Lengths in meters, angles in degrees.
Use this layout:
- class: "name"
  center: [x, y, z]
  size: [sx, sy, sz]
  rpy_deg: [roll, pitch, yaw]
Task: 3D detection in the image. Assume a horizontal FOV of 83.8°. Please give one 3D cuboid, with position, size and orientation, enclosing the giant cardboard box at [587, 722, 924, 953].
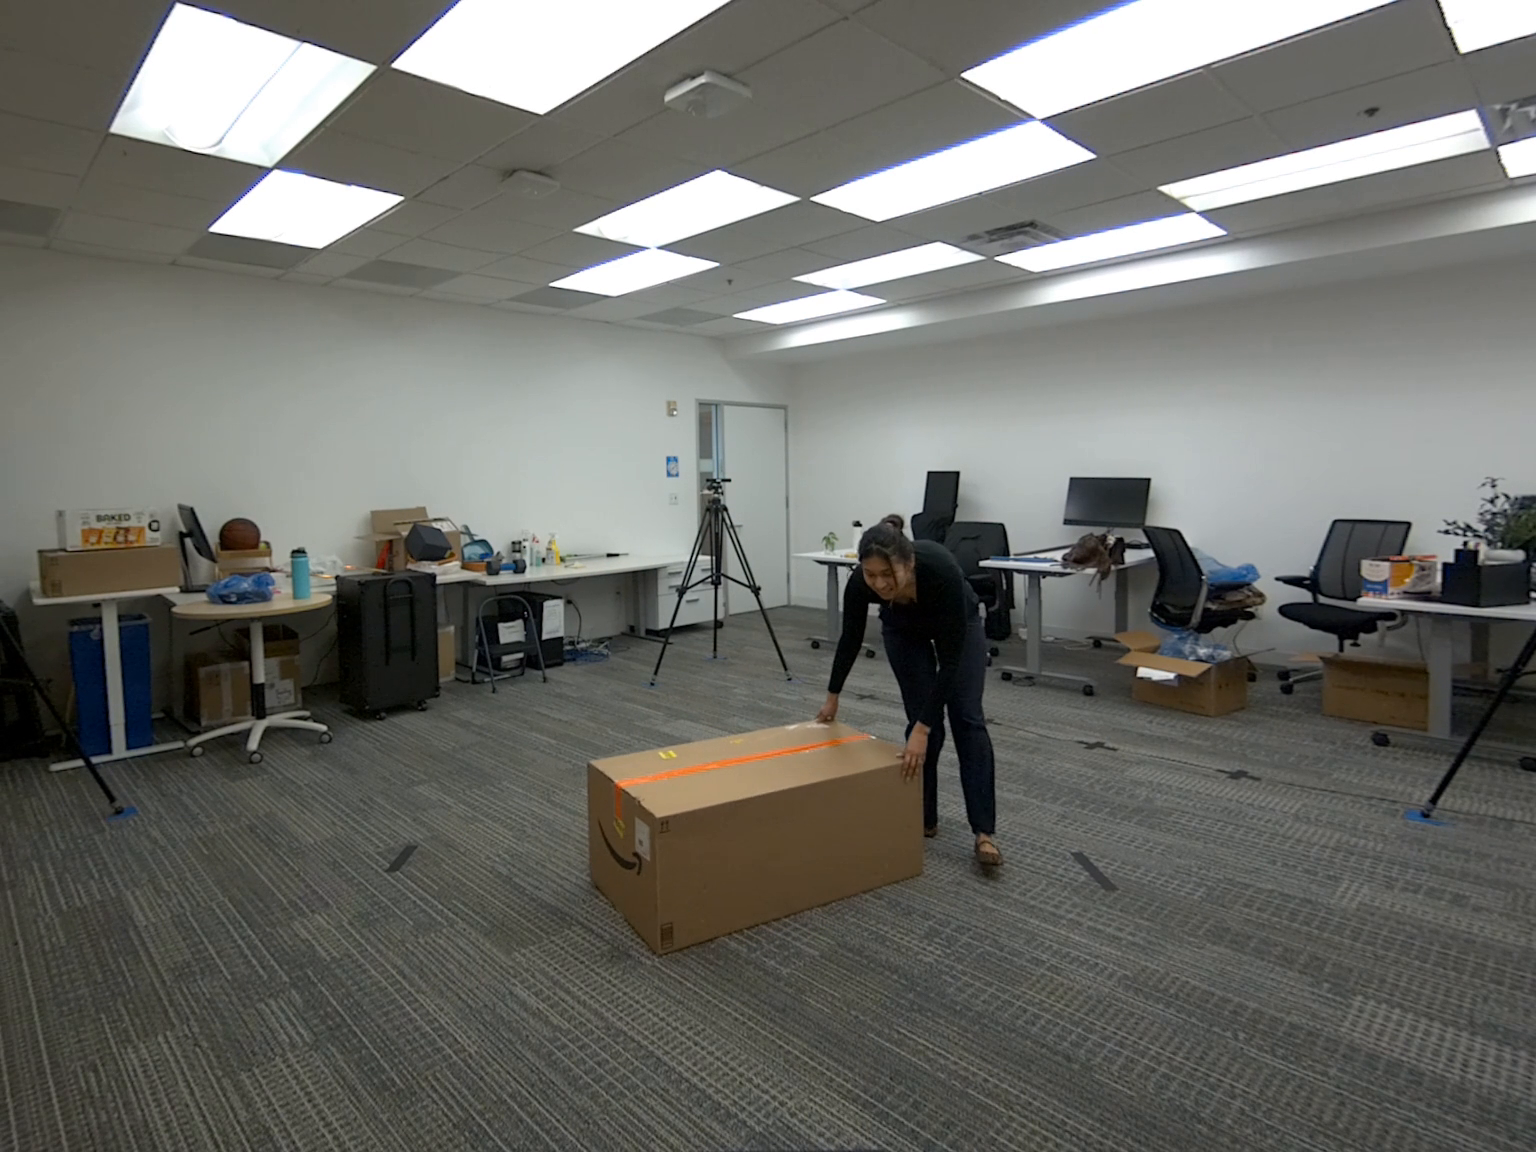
- class: "giant cardboard box"
  center: [-0.047, 0.844, 2.985]
  size: [1.002, 0.424, 0.593]
  rpy_deg: [-4, 6, -30]
